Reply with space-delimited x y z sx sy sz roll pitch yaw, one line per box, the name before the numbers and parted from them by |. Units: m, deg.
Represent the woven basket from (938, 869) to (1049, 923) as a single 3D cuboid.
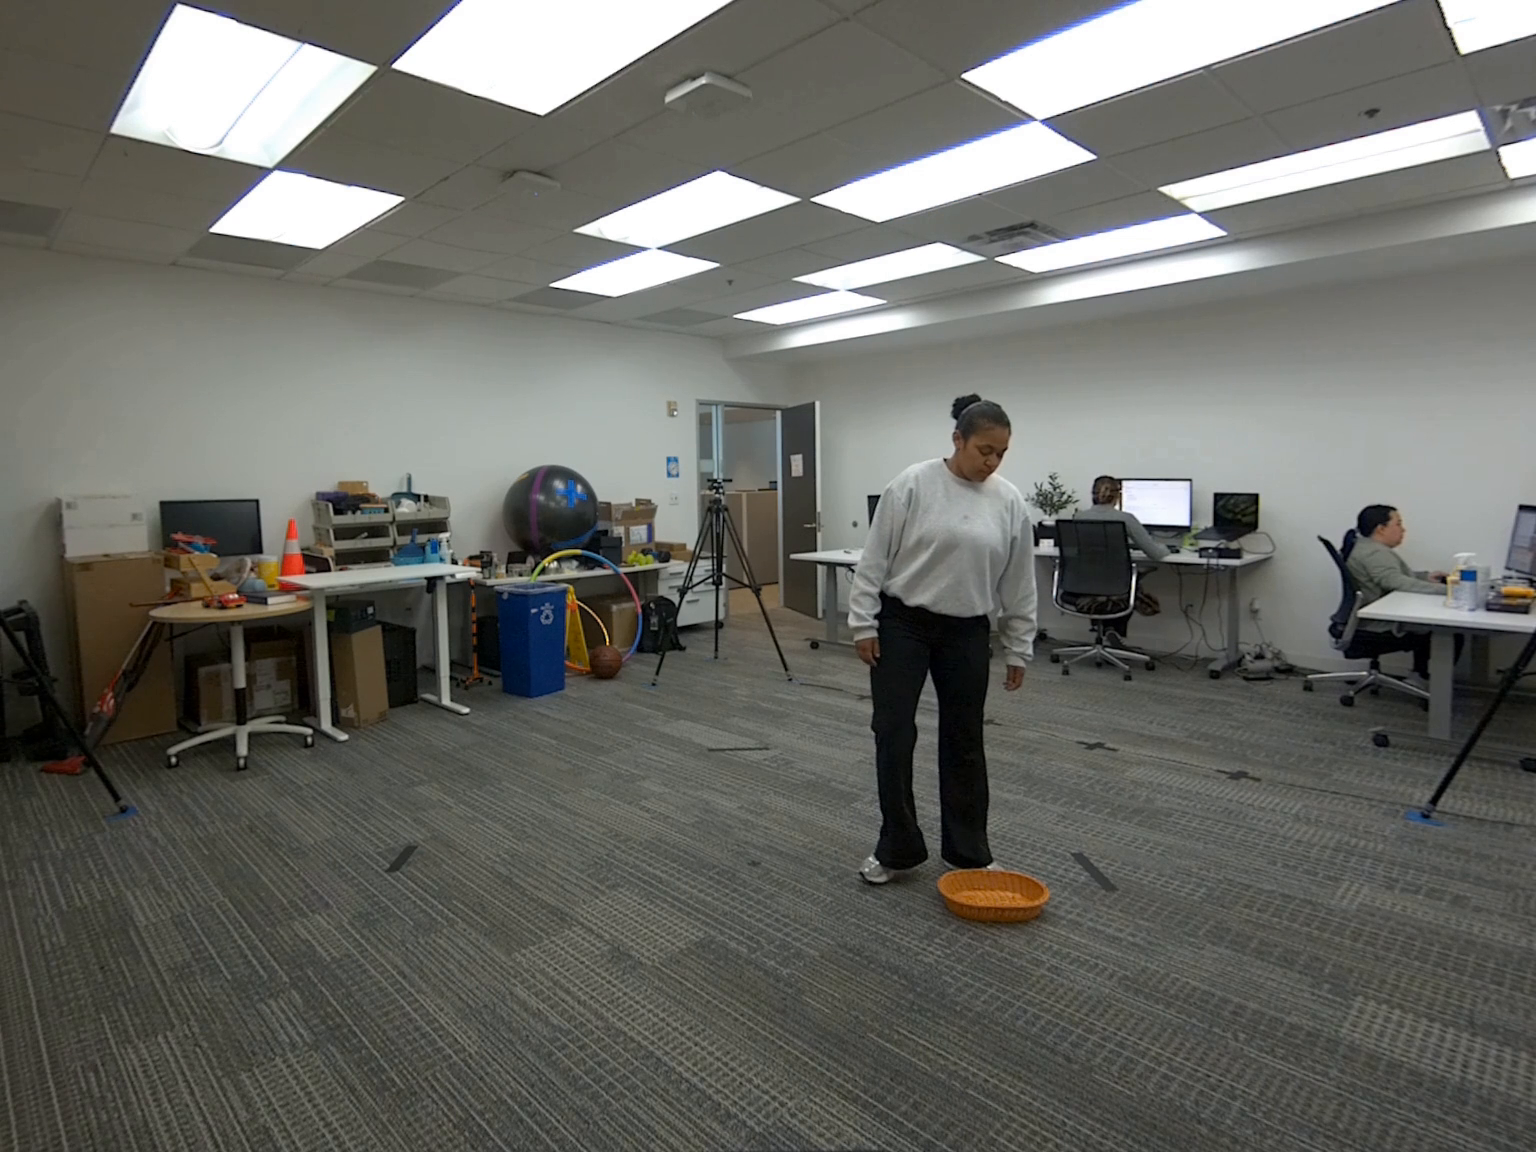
woven basket | 0.722 1.038 2.754 0.352 0.073 0.252 -1 6 4
